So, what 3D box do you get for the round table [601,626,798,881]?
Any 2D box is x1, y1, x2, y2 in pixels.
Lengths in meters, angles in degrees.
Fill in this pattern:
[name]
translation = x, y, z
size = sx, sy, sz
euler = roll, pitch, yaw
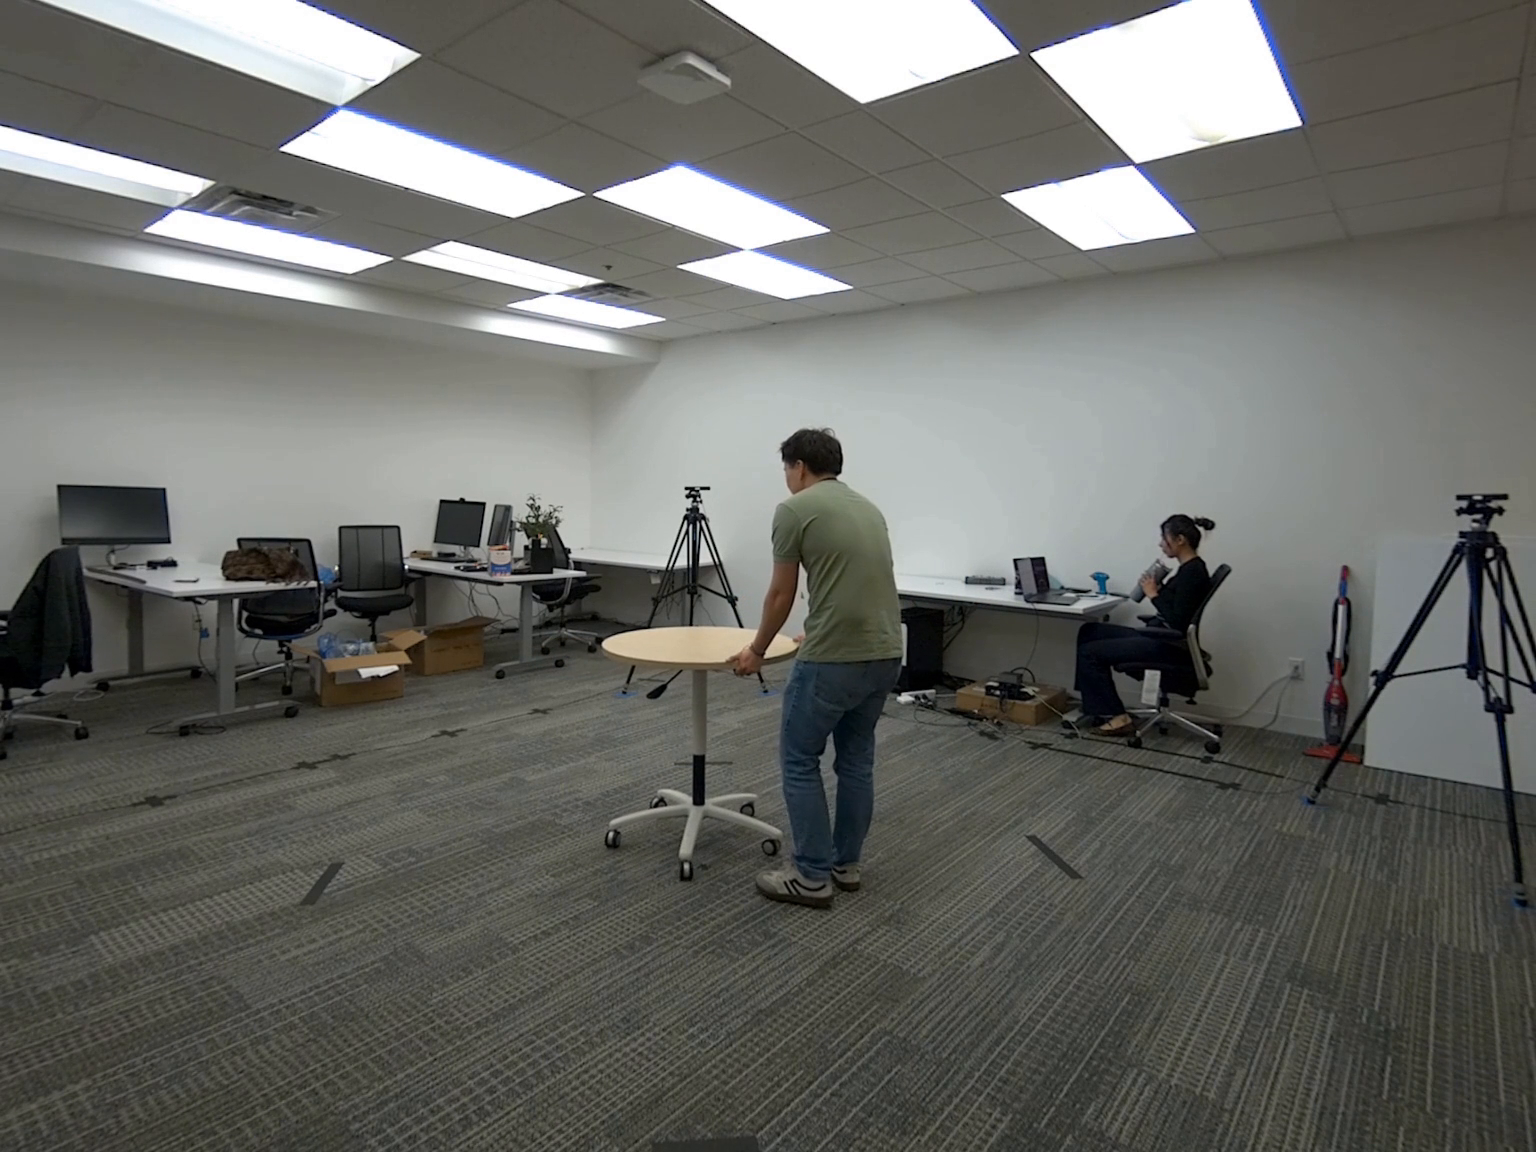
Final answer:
[round table]
translation = -0.283, 0.652, 3.352
size = 0.763, 0.791, 0.768
euler = 1, 4, -2
